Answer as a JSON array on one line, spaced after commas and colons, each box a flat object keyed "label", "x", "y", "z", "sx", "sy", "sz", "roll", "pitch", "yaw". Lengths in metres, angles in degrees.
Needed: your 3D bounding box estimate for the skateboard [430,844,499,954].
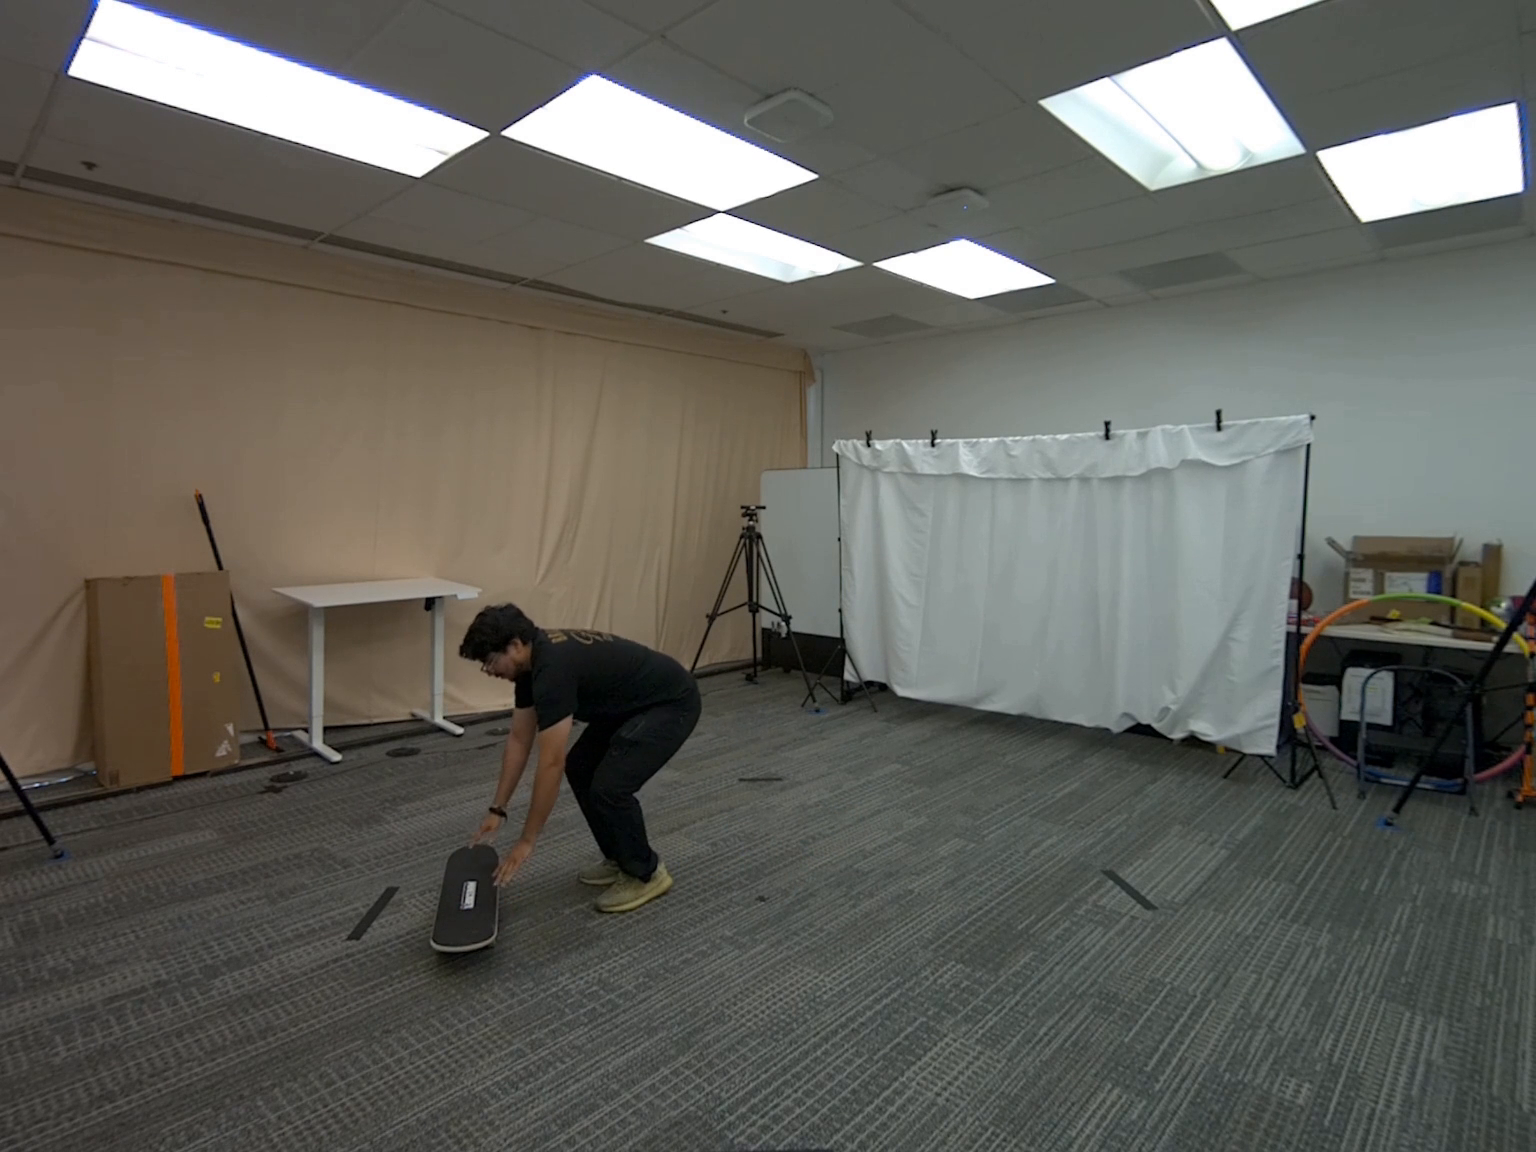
[{"label": "skateboard", "x": -1.007, "y": 1.105, "z": 2.835, "sx": 0.190, "sy": 0.110, "sz": 0.799, "roll": -1, "pitch": 5, "yaw": -16}]
